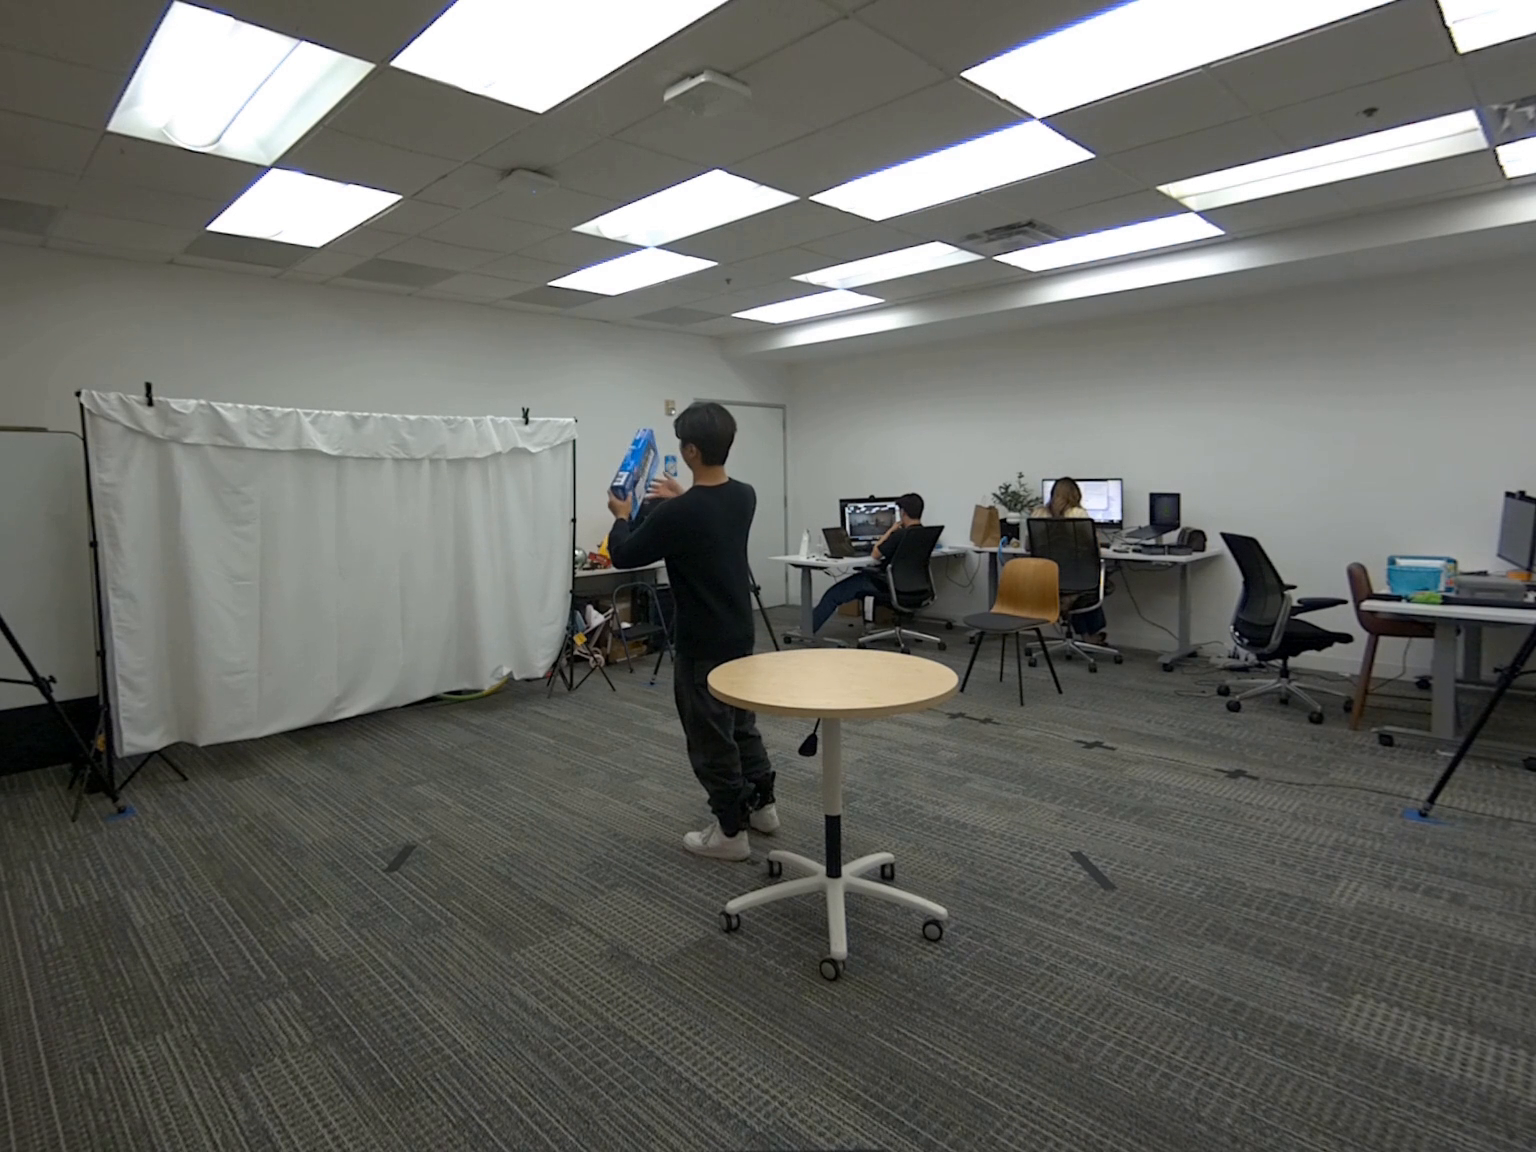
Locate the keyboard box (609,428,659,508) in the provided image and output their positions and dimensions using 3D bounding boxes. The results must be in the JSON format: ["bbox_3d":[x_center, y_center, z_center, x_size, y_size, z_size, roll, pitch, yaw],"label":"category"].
[{"bbox_3d":[-0.528,-0.411,3.472,0.060,0.171,0.444,1,39,11],"label":"keyboard box"}]
